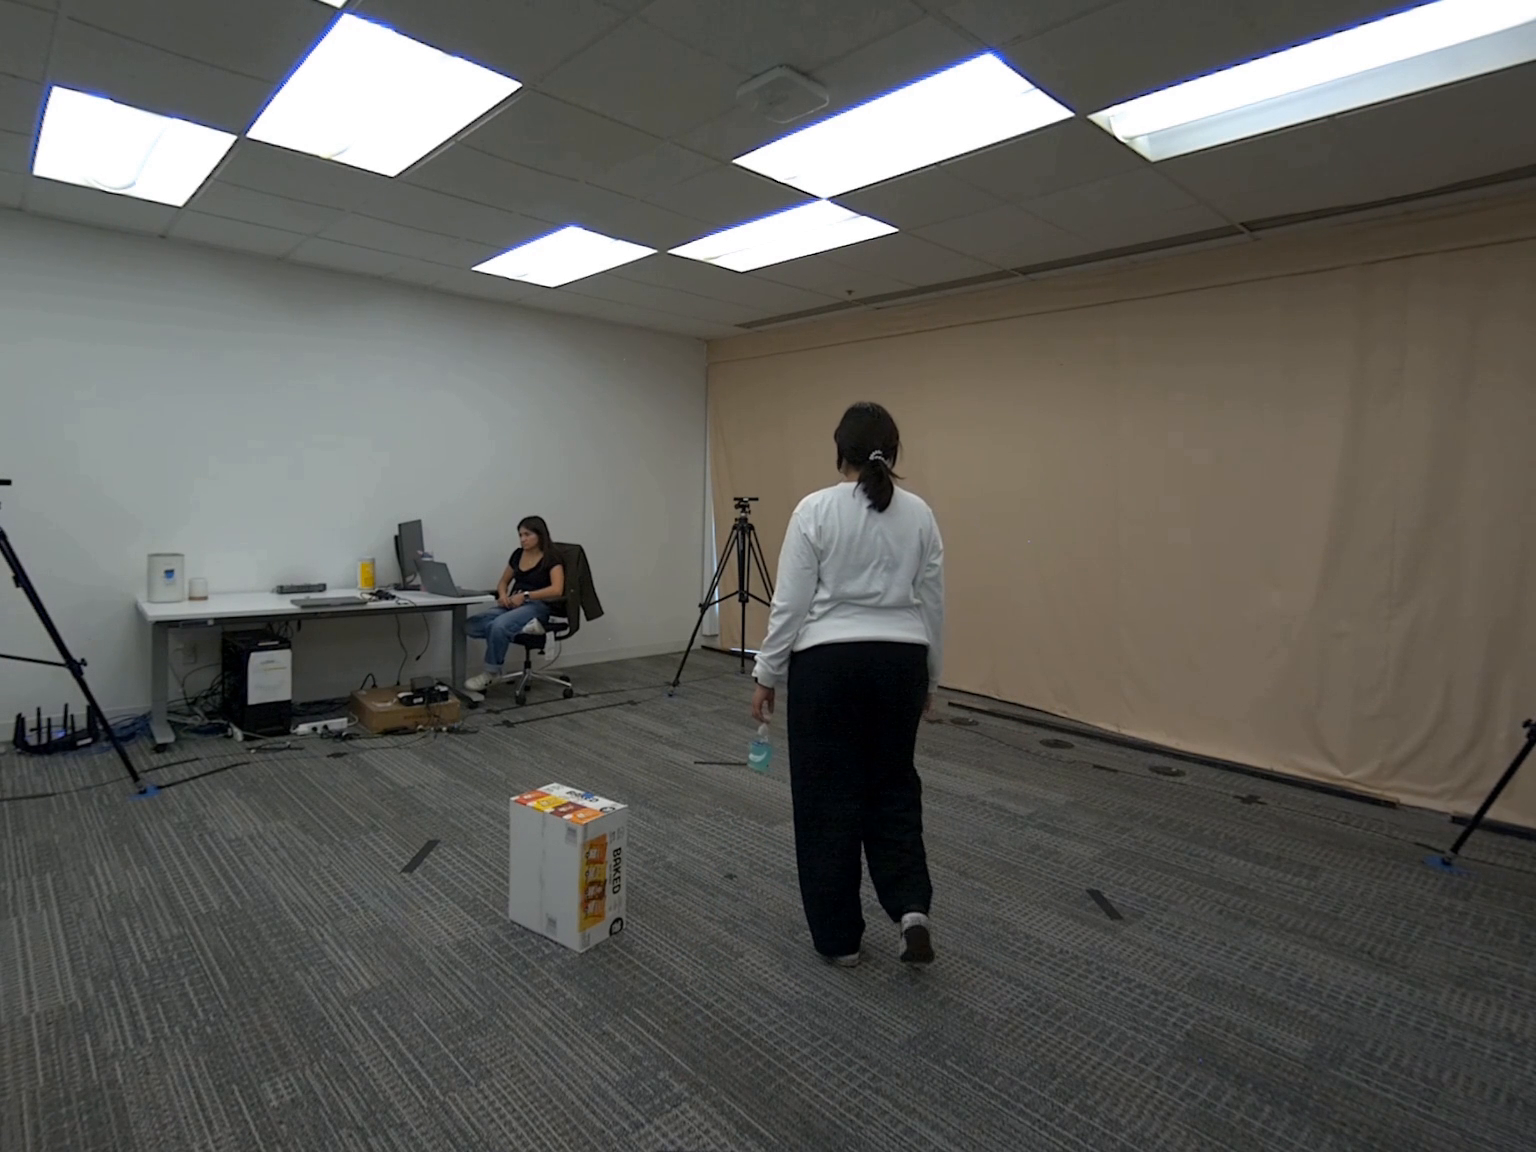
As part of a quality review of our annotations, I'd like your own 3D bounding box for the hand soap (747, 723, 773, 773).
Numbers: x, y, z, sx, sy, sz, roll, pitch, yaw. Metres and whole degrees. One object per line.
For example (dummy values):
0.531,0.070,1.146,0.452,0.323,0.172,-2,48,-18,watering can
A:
-0.017,0.525,2.636,0.086,0.168,0.043,12,4,20,hand soap
